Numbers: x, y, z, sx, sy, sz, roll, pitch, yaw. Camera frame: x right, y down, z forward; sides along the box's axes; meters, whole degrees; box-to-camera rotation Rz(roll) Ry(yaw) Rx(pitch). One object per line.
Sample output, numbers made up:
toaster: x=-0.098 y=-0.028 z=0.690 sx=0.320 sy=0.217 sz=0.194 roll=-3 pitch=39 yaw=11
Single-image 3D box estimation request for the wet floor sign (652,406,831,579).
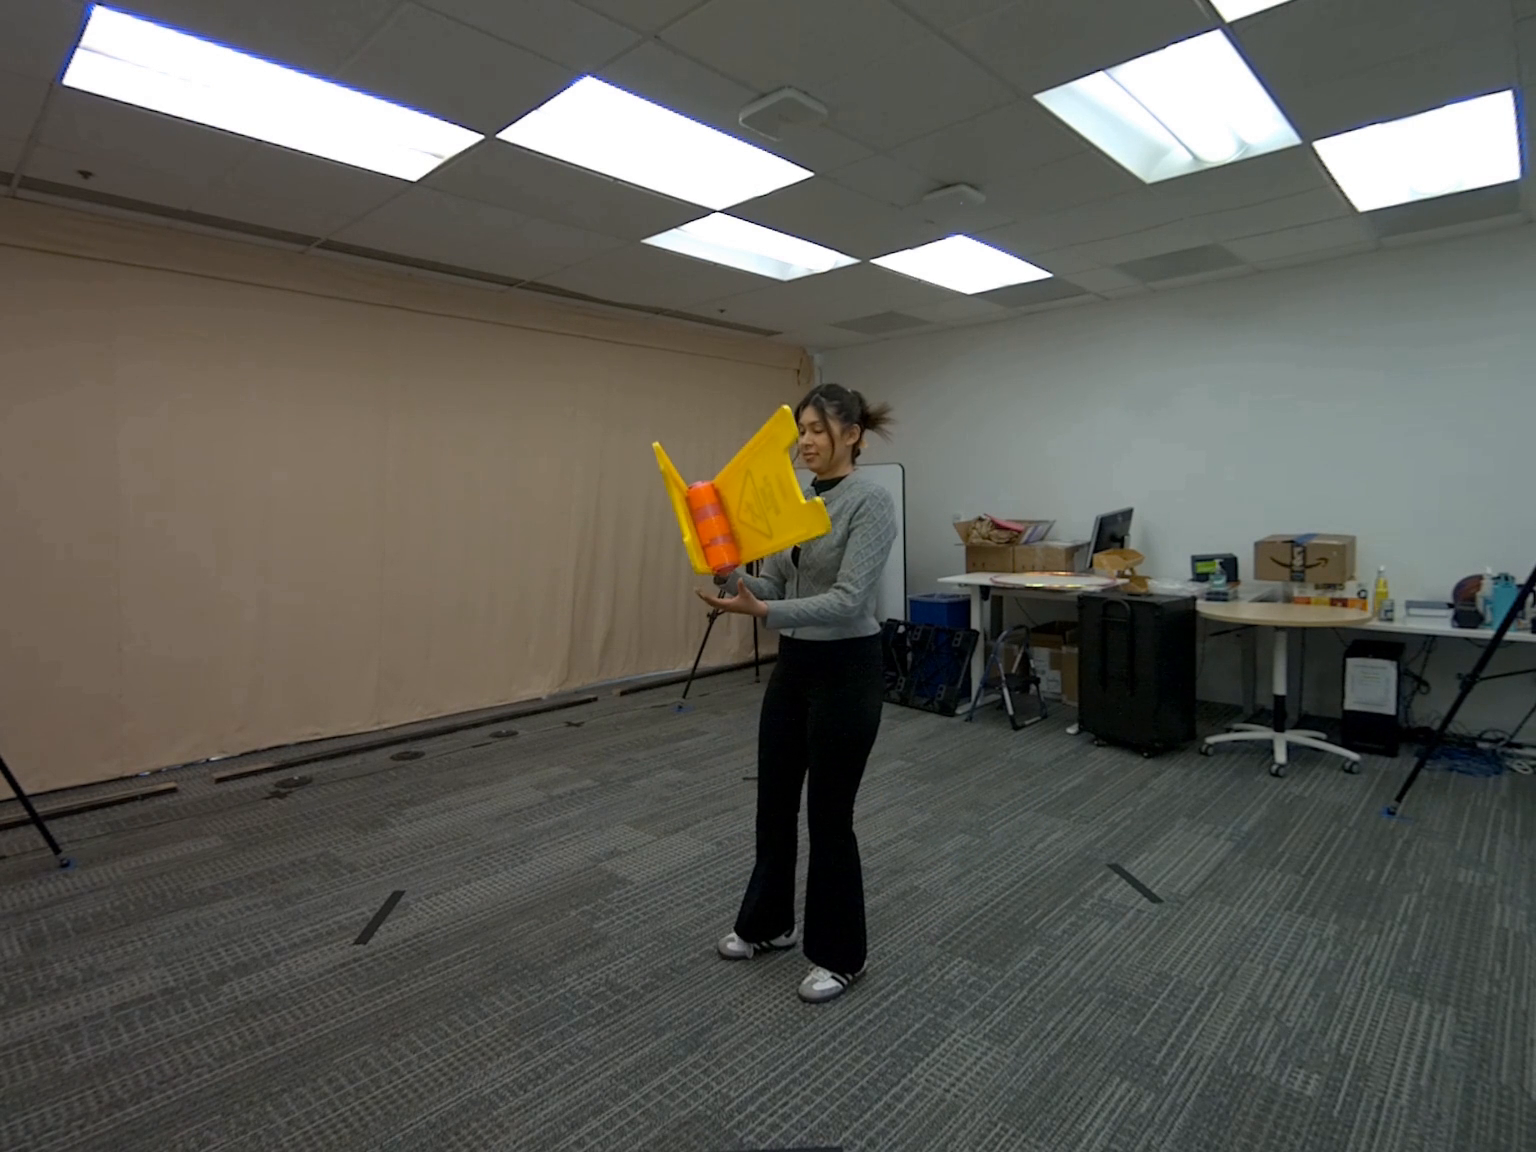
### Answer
wet floor sign: x=-0.110 y=-0.143 z=2.010 sx=0.287 sy=0.283 sz=0.649 roll=-17 pitch=-4 yaw=-13
